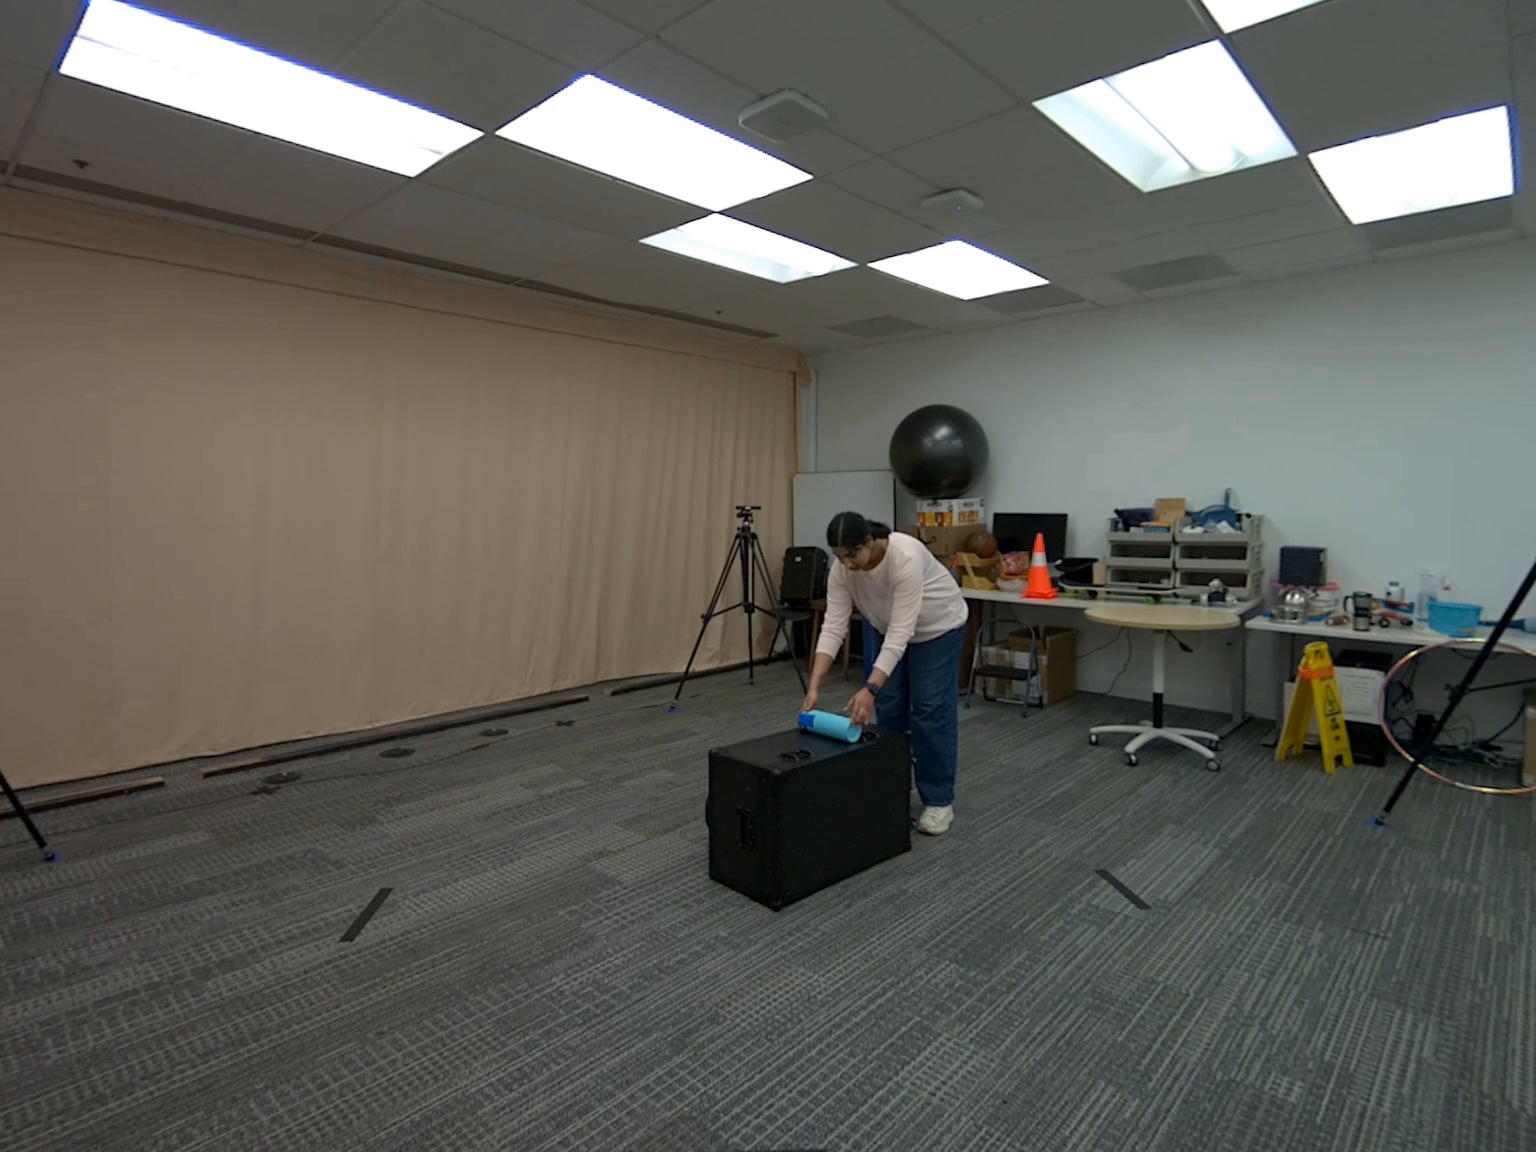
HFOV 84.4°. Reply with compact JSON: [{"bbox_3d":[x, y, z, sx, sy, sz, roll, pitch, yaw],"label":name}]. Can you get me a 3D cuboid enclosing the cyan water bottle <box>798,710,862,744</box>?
[{"bbox_3d":[0.229,0.582,3.330,0.089,0.092,0.293,-3,6,-43],"label":"cyan water bottle"}]
